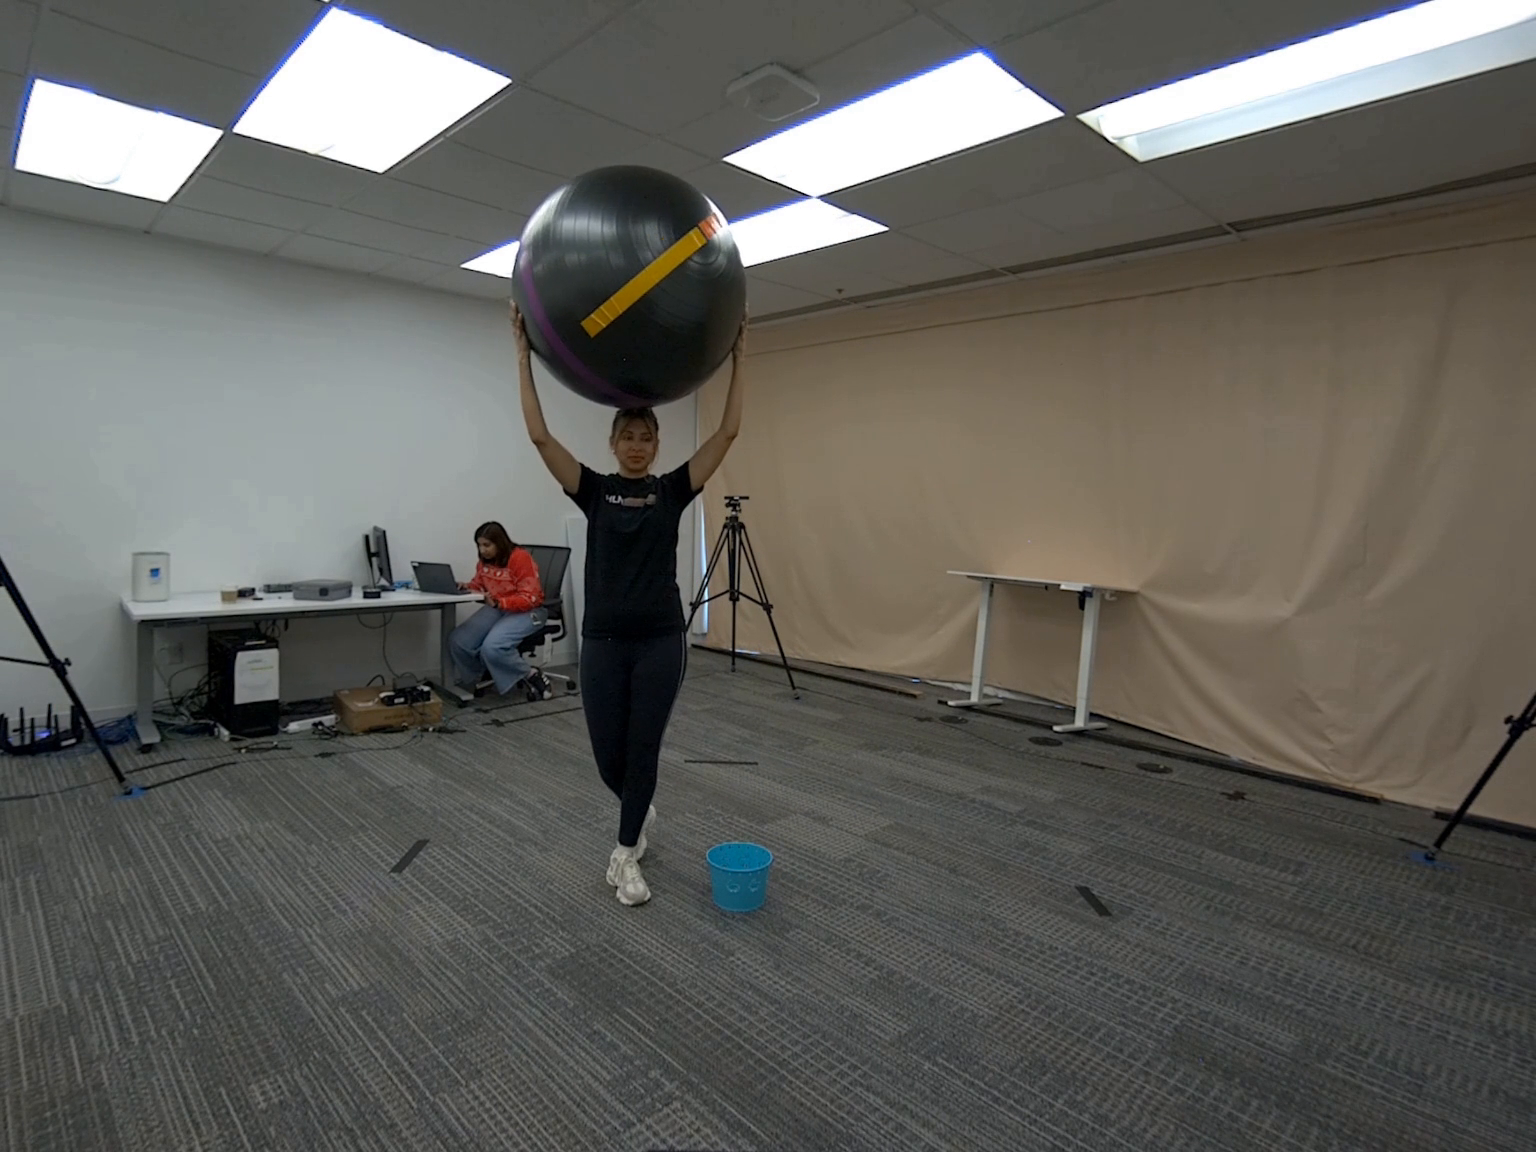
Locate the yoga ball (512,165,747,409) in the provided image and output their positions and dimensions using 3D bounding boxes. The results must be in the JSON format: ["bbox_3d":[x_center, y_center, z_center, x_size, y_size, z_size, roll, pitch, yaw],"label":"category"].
[{"bbox_3d":[-0.446,-0.923,2.744,0.757,0.756,0.761,1,4,-1],"label":"yoga ball"}]
